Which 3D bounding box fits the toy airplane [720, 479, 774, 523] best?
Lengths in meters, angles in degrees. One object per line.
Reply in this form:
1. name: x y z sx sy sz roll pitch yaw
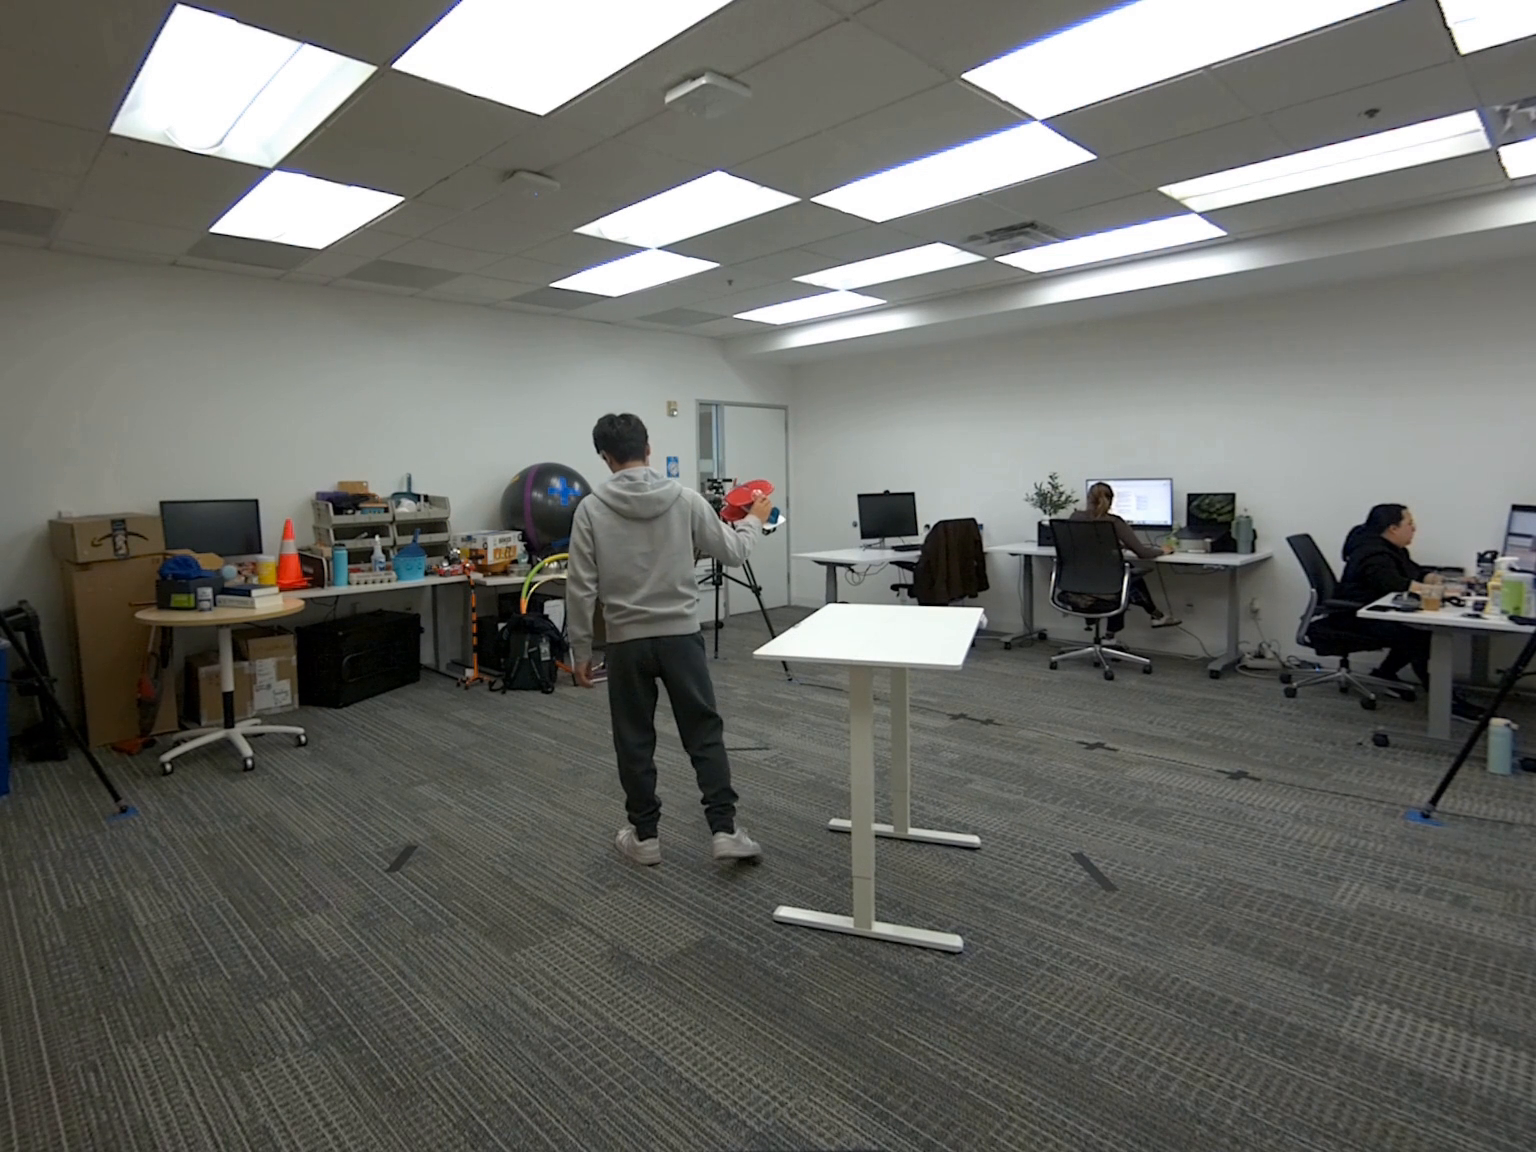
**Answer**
1. toy airplane: -0.043 -0.282 3.479 0.263 0.153 0.253 11 31 11
